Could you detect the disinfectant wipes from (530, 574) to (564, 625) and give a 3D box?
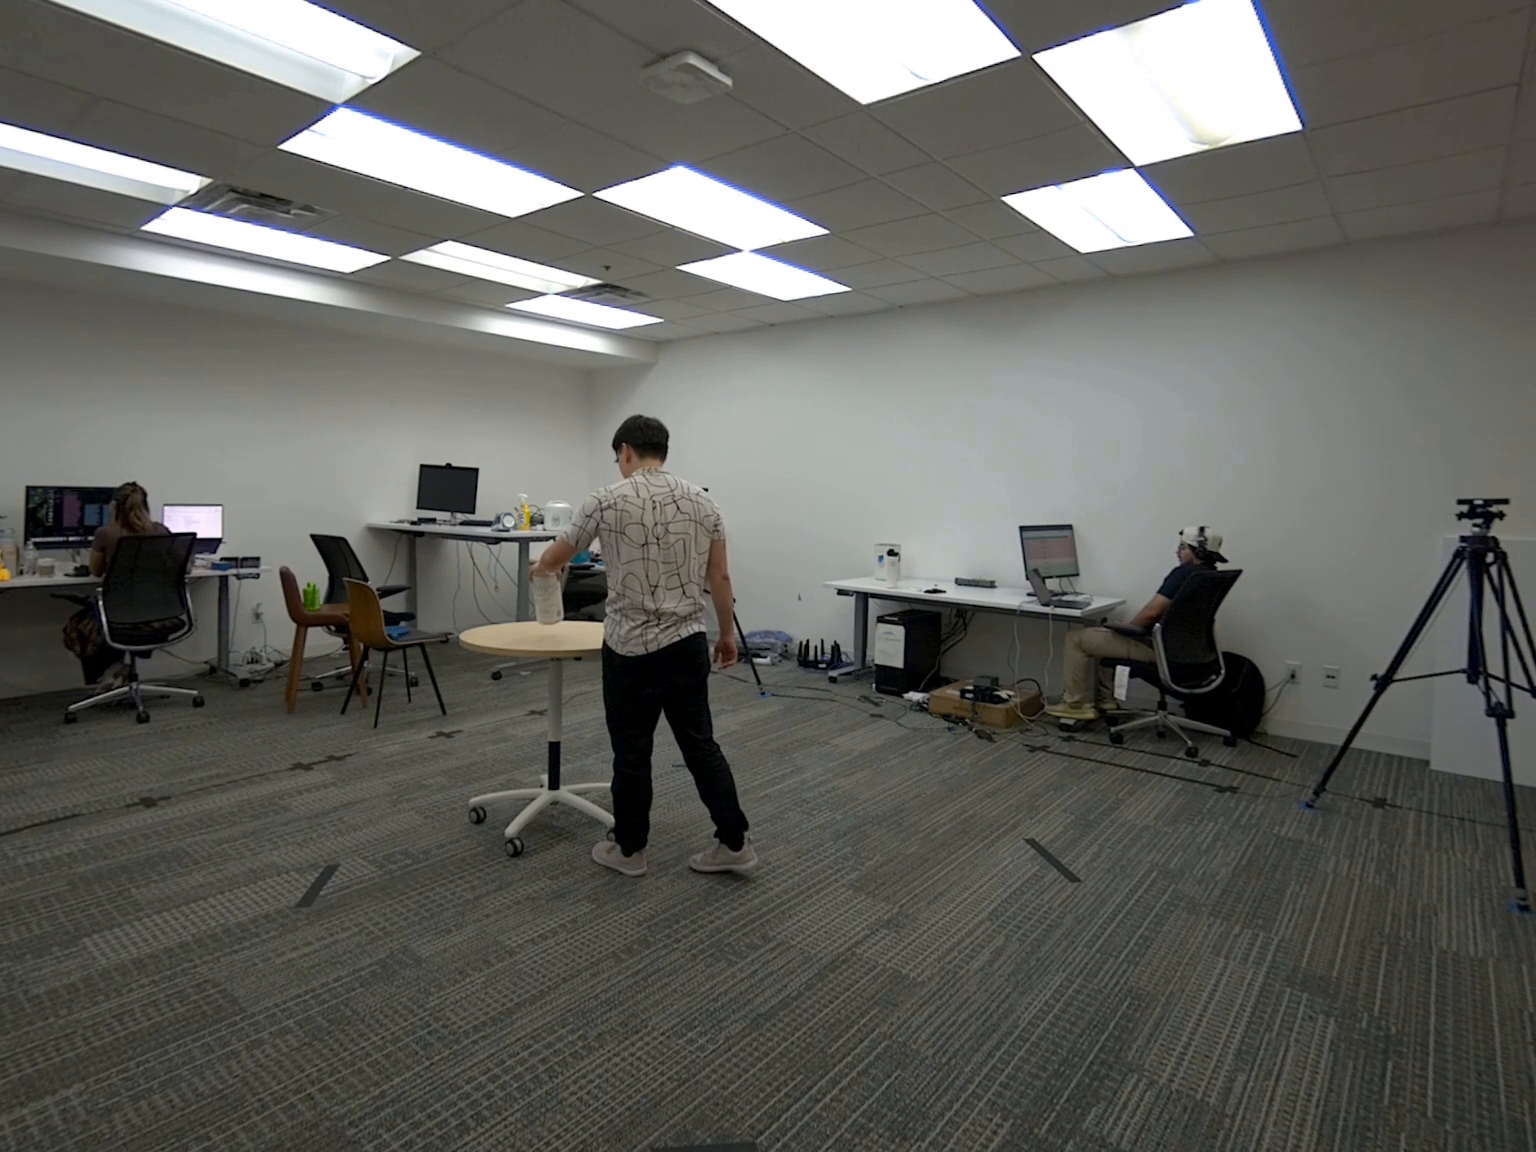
[{"bbox_3d":[-0.896,0.078,3.413,0.118,0.213,0.120,-1,23,-1],"label":"disinfectant wipes"}]
